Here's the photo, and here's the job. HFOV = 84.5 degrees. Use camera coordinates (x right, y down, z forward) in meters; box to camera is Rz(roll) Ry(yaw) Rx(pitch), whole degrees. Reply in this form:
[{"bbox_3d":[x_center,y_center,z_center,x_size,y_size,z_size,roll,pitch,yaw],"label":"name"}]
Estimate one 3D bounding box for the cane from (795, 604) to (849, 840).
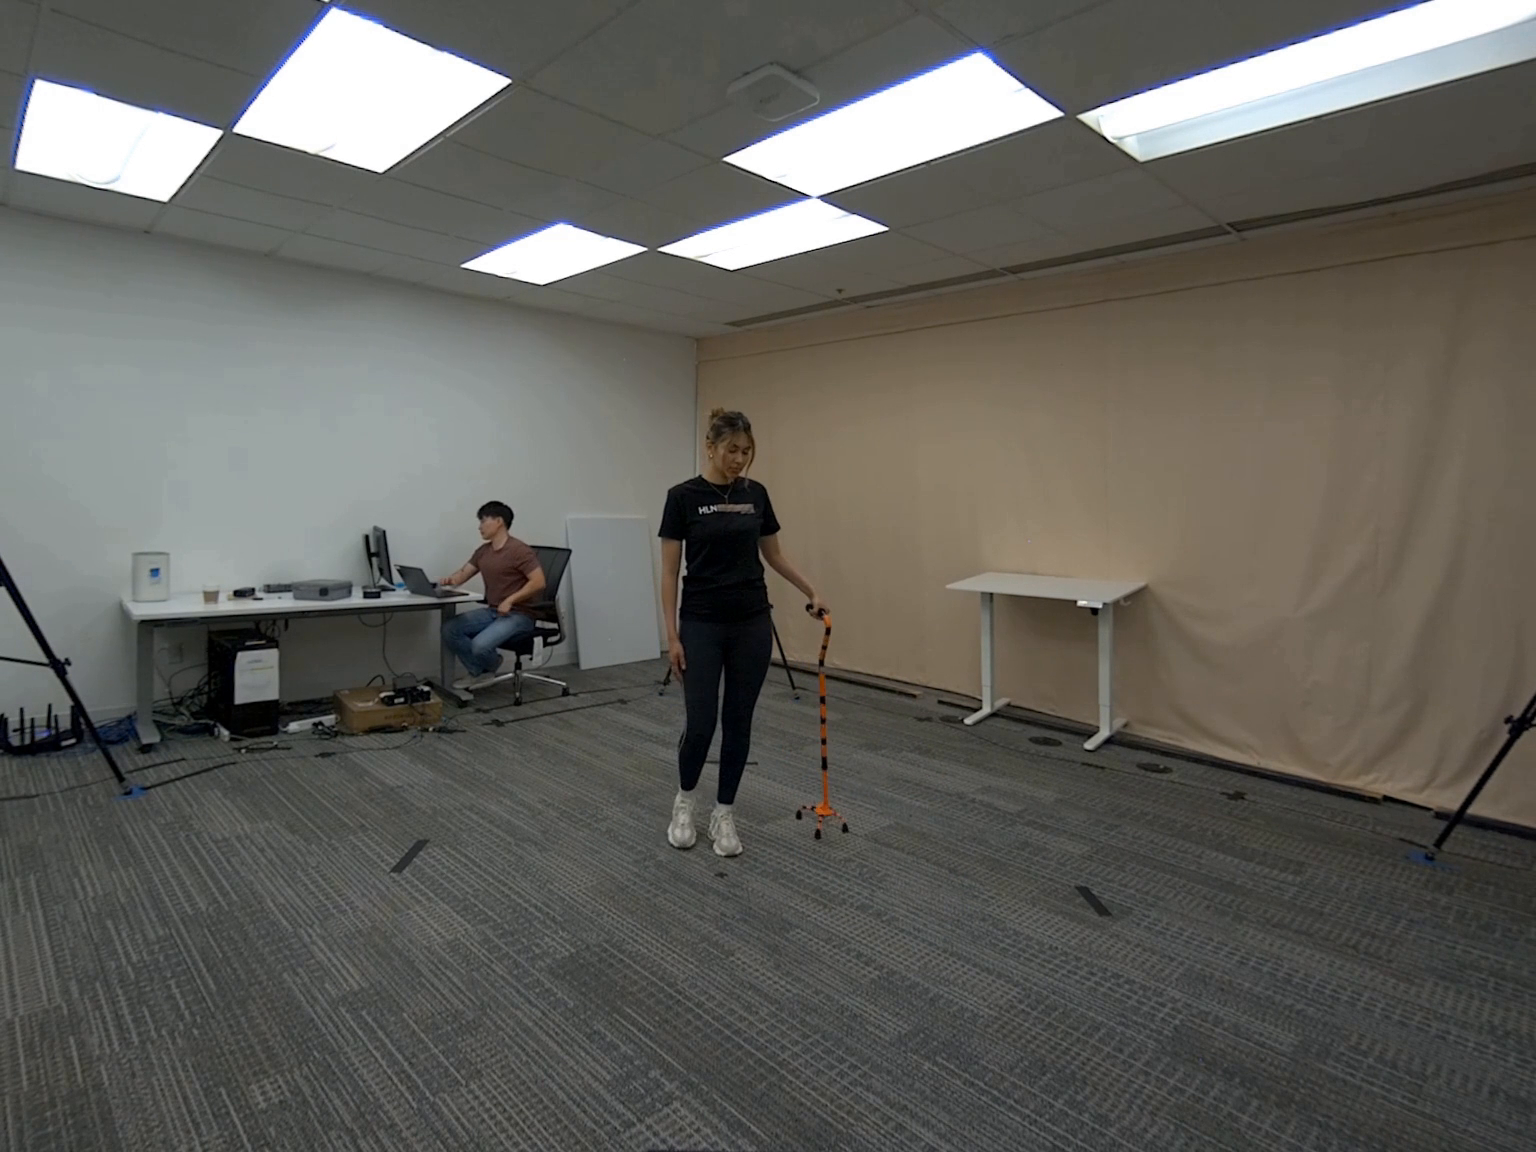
[{"bbox_3d":[0.199,0.580,3.384,0.149,0.901,0.211,-5,10,-24],"label":"cane"}]
